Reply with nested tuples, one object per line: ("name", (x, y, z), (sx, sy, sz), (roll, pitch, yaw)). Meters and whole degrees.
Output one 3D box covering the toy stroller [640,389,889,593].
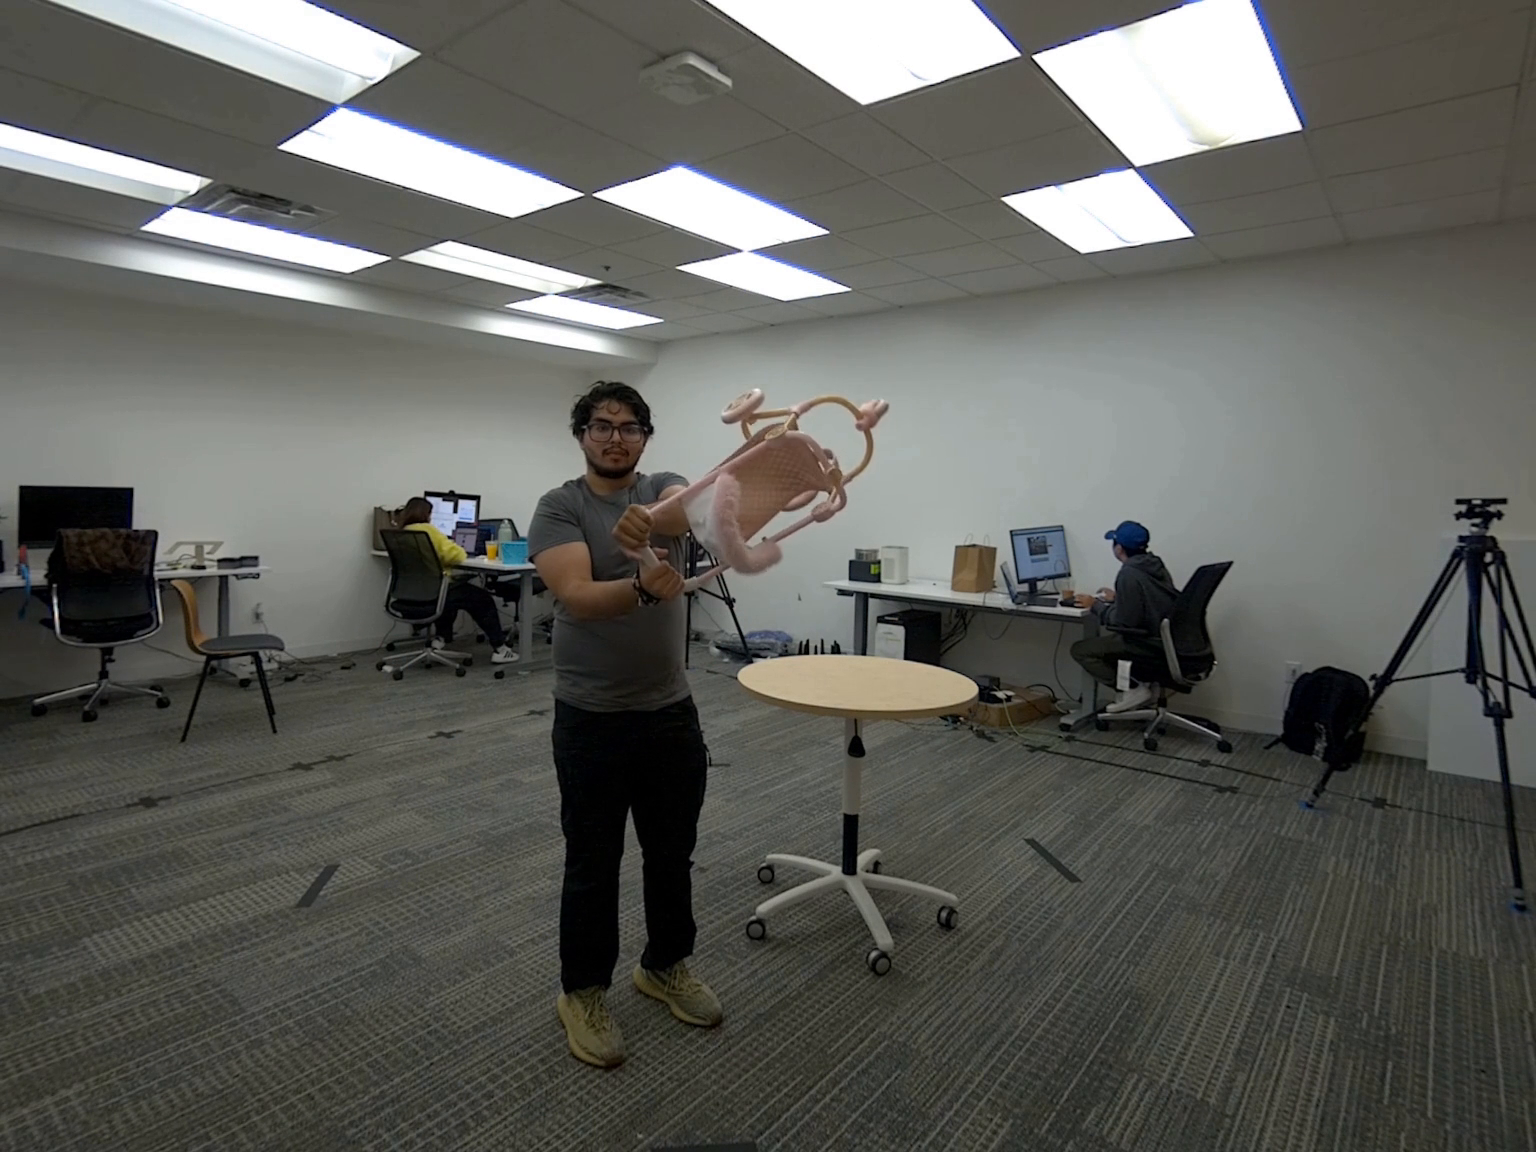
("toy stroller", (0.008, -0.190, 1.758), (0.352, 0.273, 0.536), (-2, 37, 42))
